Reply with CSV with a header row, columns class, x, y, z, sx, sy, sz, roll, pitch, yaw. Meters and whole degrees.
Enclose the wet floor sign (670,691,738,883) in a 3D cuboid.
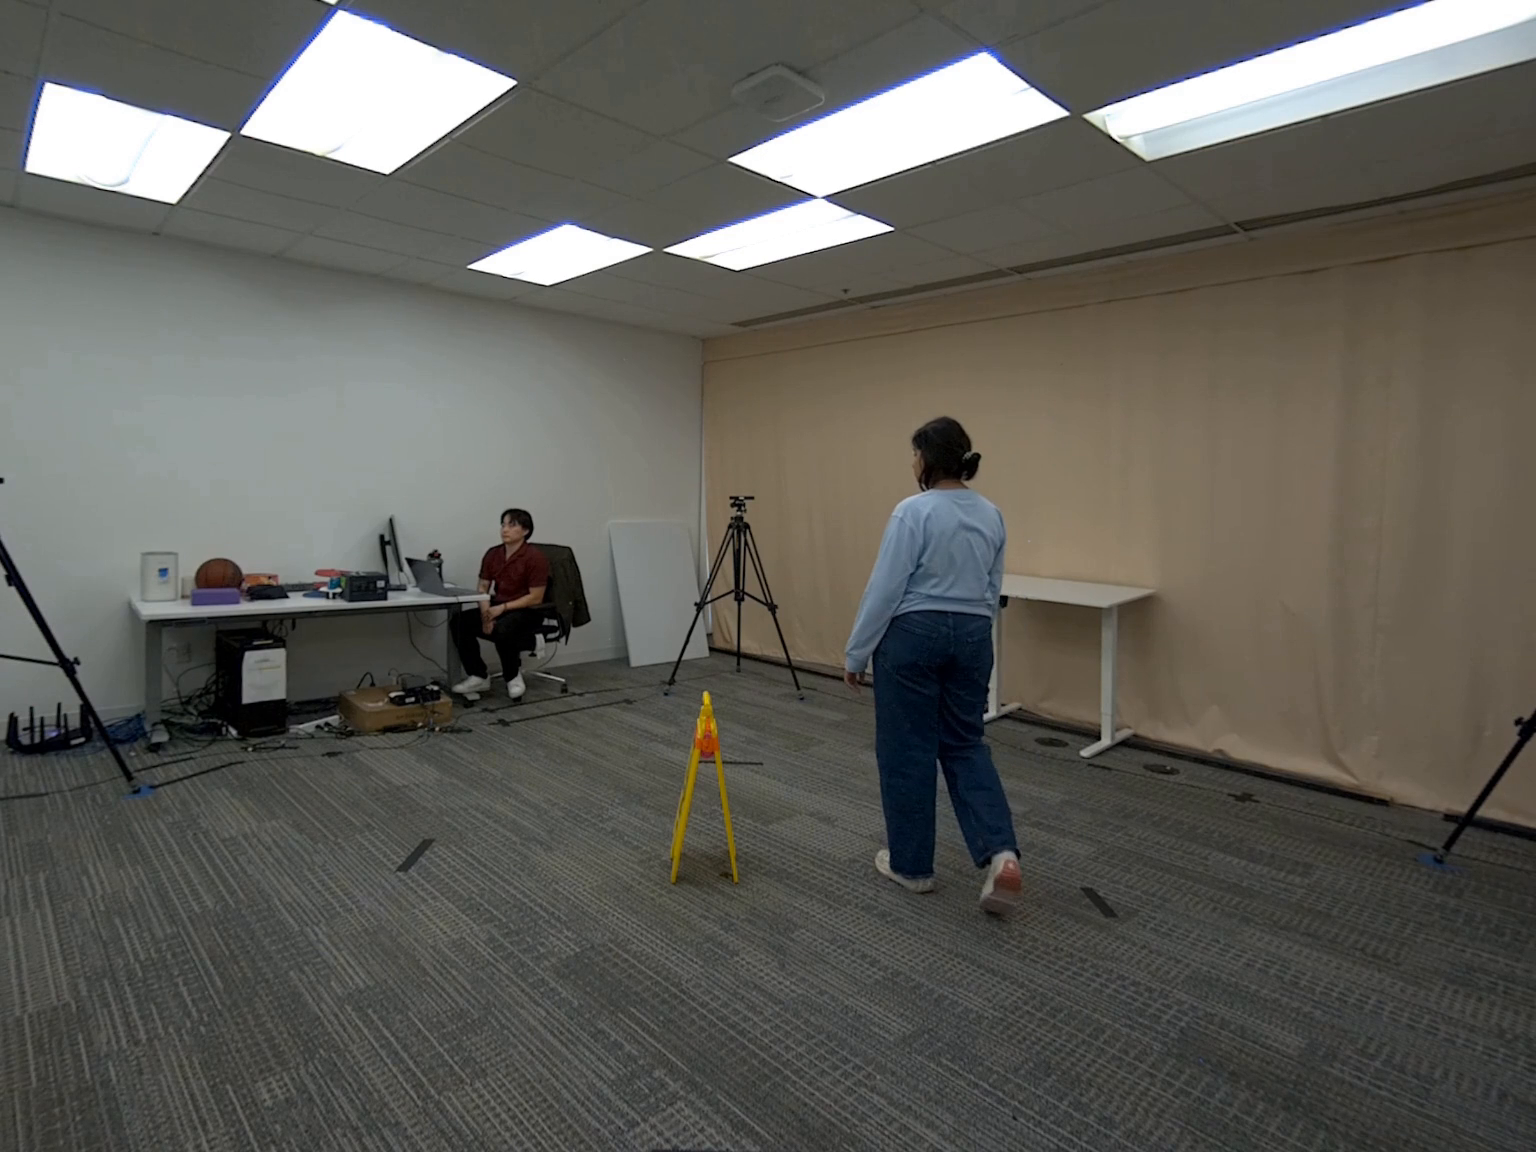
class,x,y,z,sx,sy,sz,roll,pitch,yaw
wet floor sign,-0.241,0.773,3.157,0.289,0.645,0.283,0,2,-4
